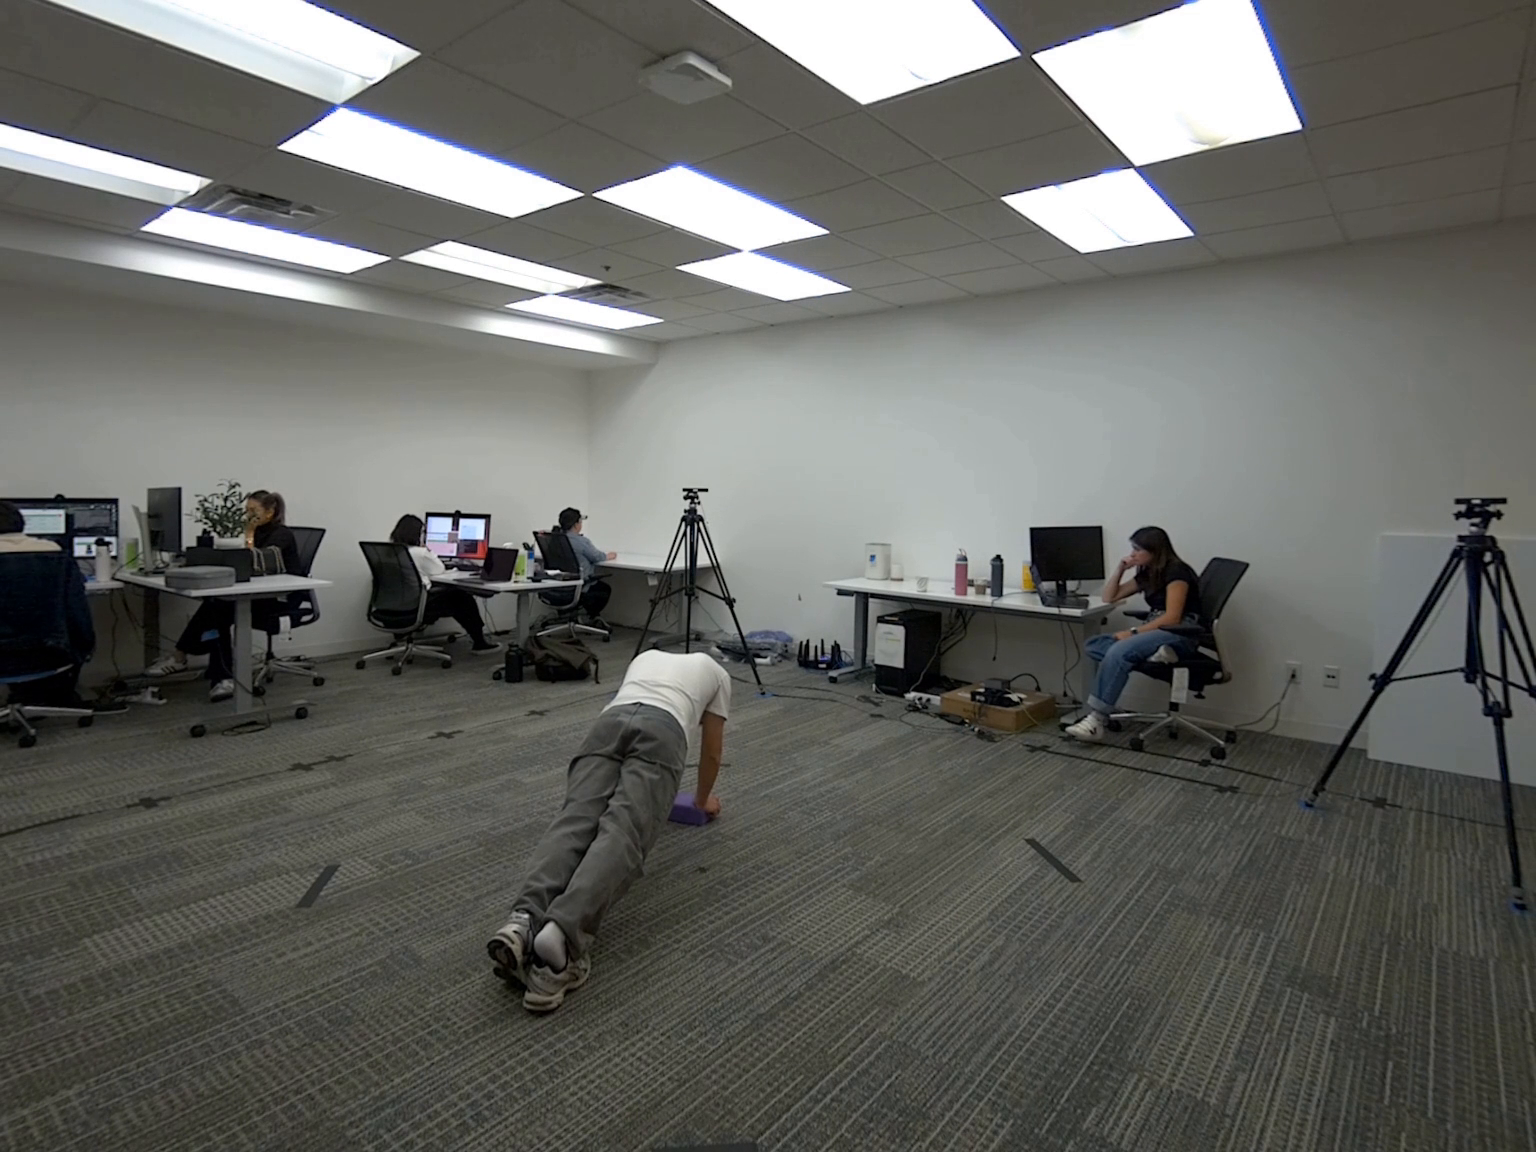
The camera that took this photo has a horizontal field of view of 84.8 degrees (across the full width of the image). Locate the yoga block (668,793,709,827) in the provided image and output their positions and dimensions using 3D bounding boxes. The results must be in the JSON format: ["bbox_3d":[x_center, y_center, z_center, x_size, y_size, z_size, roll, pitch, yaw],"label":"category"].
[{"bbox_3d":[-0.359,0.979,3.614,0.234,0.076,0.146,2,5,21],"label":"yoga block"}]
